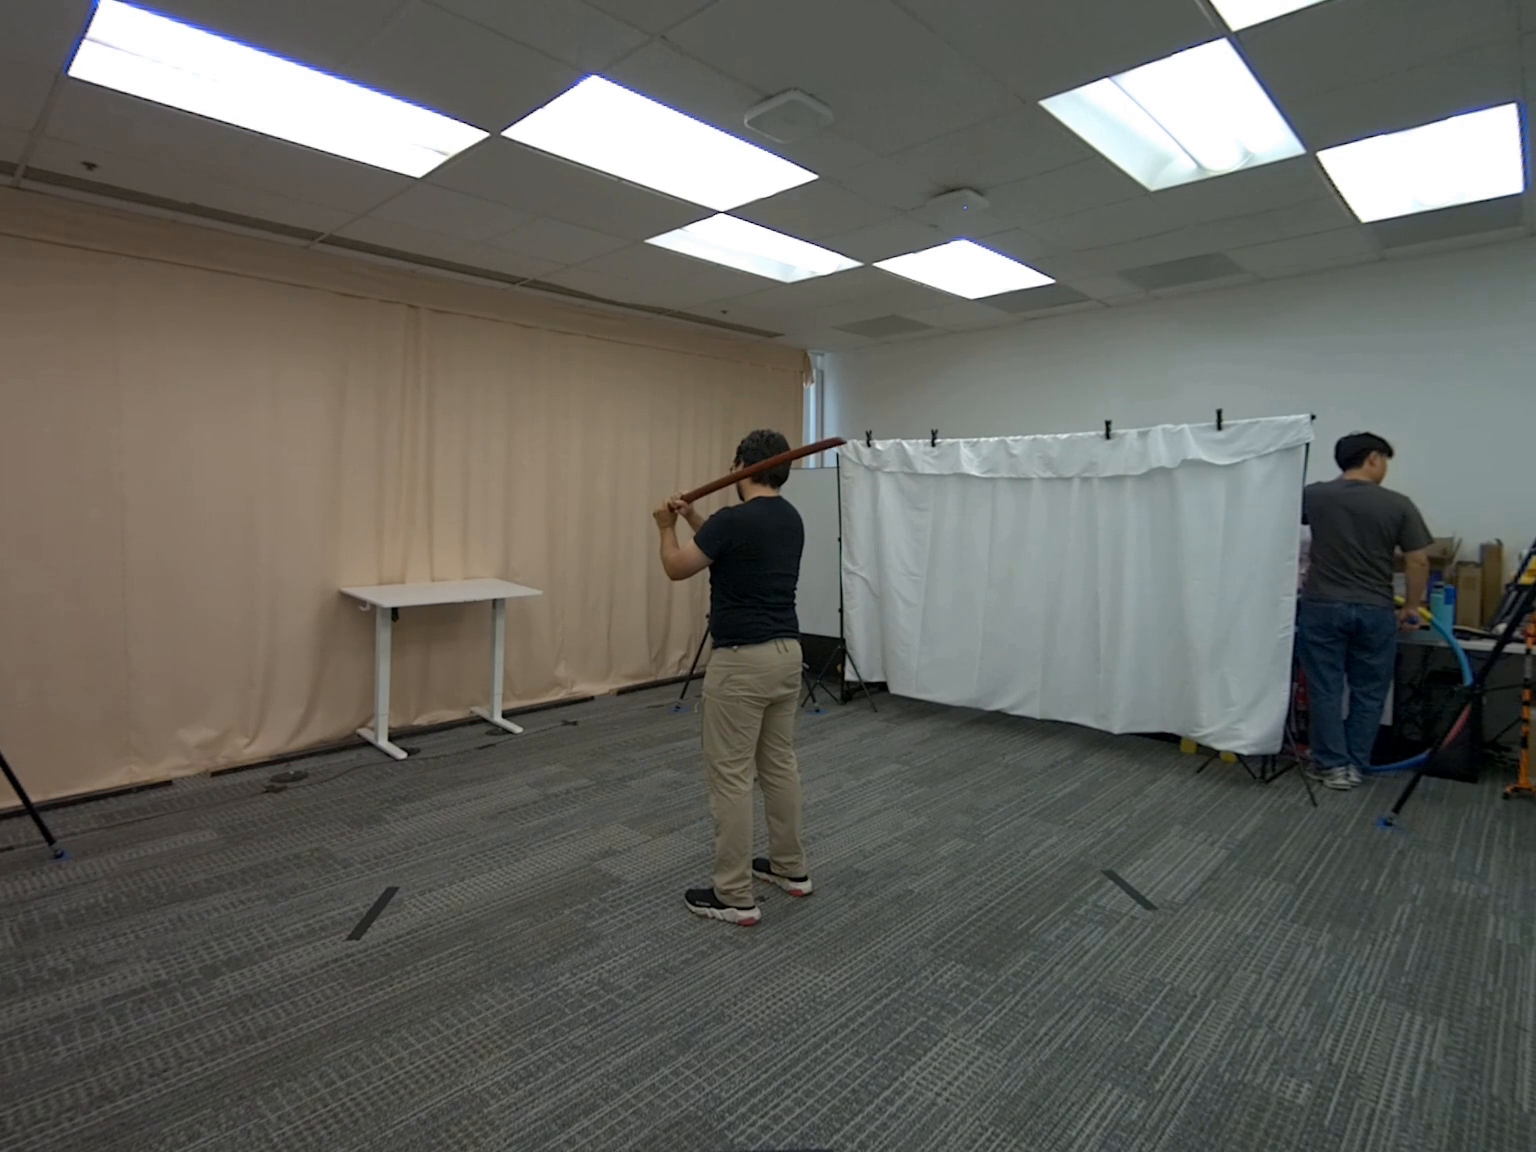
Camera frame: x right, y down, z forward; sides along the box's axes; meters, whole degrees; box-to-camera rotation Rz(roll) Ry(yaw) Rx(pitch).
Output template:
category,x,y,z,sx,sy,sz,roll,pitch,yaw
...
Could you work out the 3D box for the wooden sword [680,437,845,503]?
category,x,y,z,sx,sy,sz,roll,pitch,yaw
wooden sword,-0.117,-0.318,2.828,0.023,0.051,1.051,28,-26,-31
